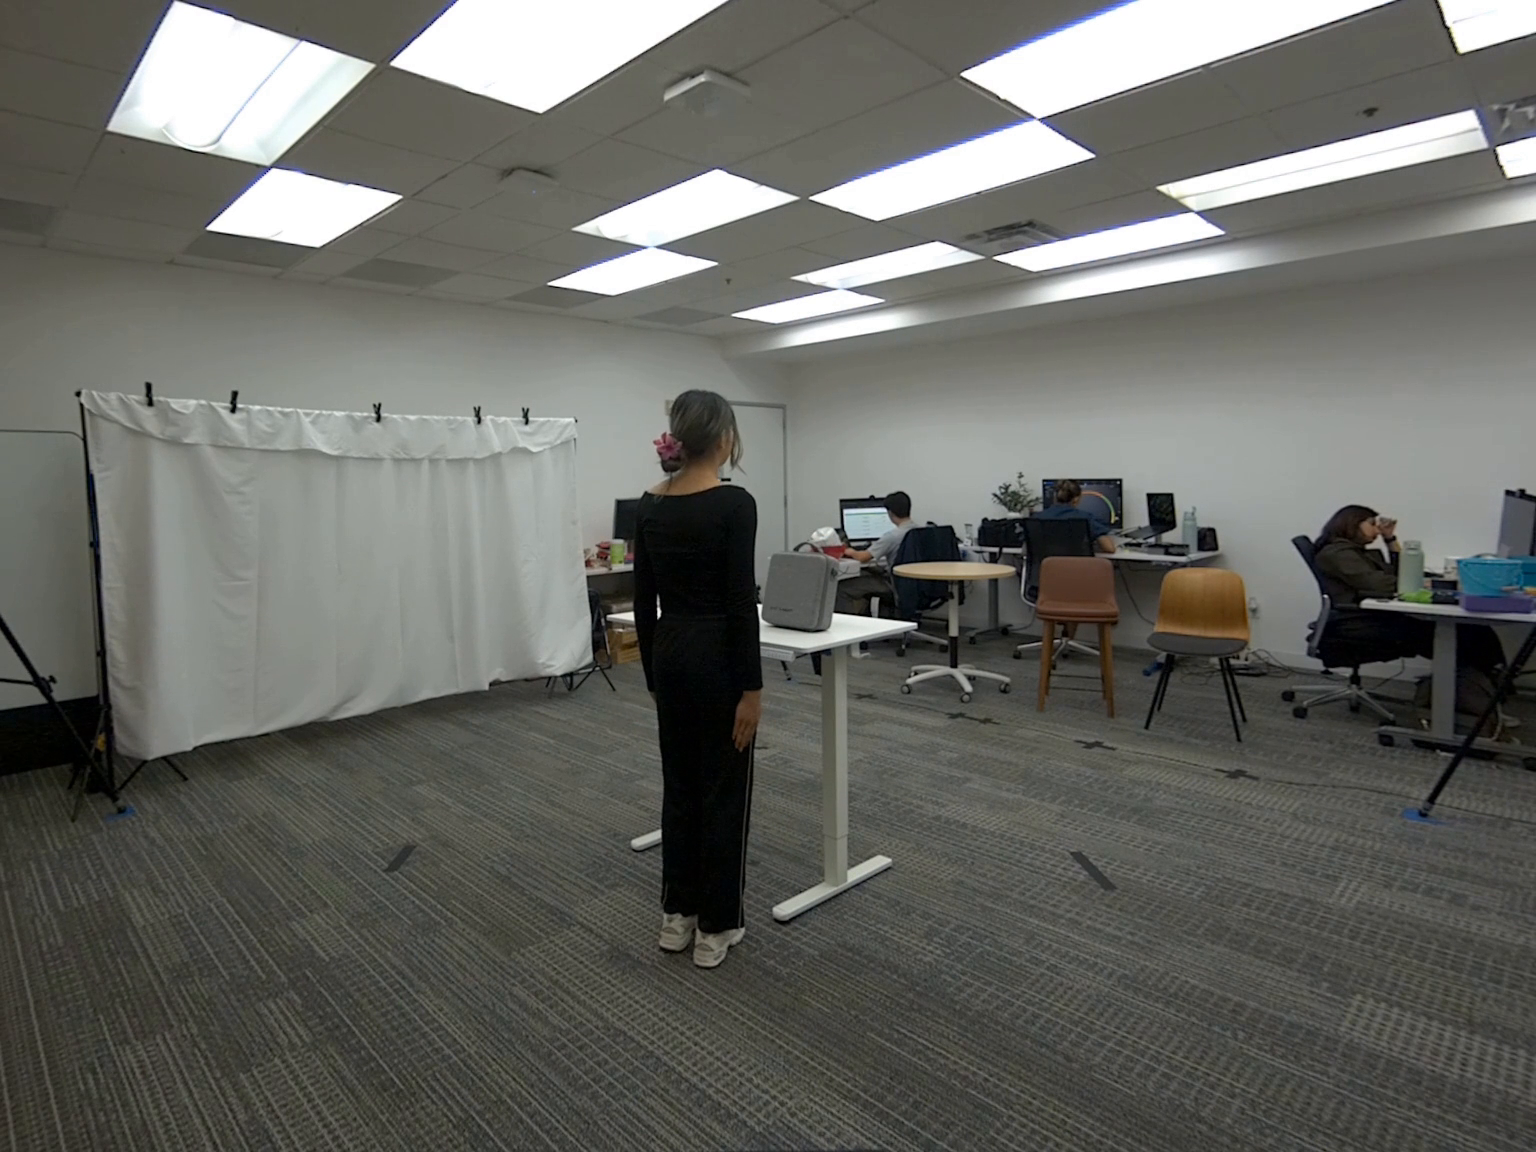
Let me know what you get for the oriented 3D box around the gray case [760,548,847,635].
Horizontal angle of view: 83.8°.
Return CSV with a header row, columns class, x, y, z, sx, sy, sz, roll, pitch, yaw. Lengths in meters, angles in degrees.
class,x,y,z,sx,sy,sz,roll,pitch,yaw
gray case,0.114,0.046,2.910,0.101,0.261,0.265,13,-6,-42
